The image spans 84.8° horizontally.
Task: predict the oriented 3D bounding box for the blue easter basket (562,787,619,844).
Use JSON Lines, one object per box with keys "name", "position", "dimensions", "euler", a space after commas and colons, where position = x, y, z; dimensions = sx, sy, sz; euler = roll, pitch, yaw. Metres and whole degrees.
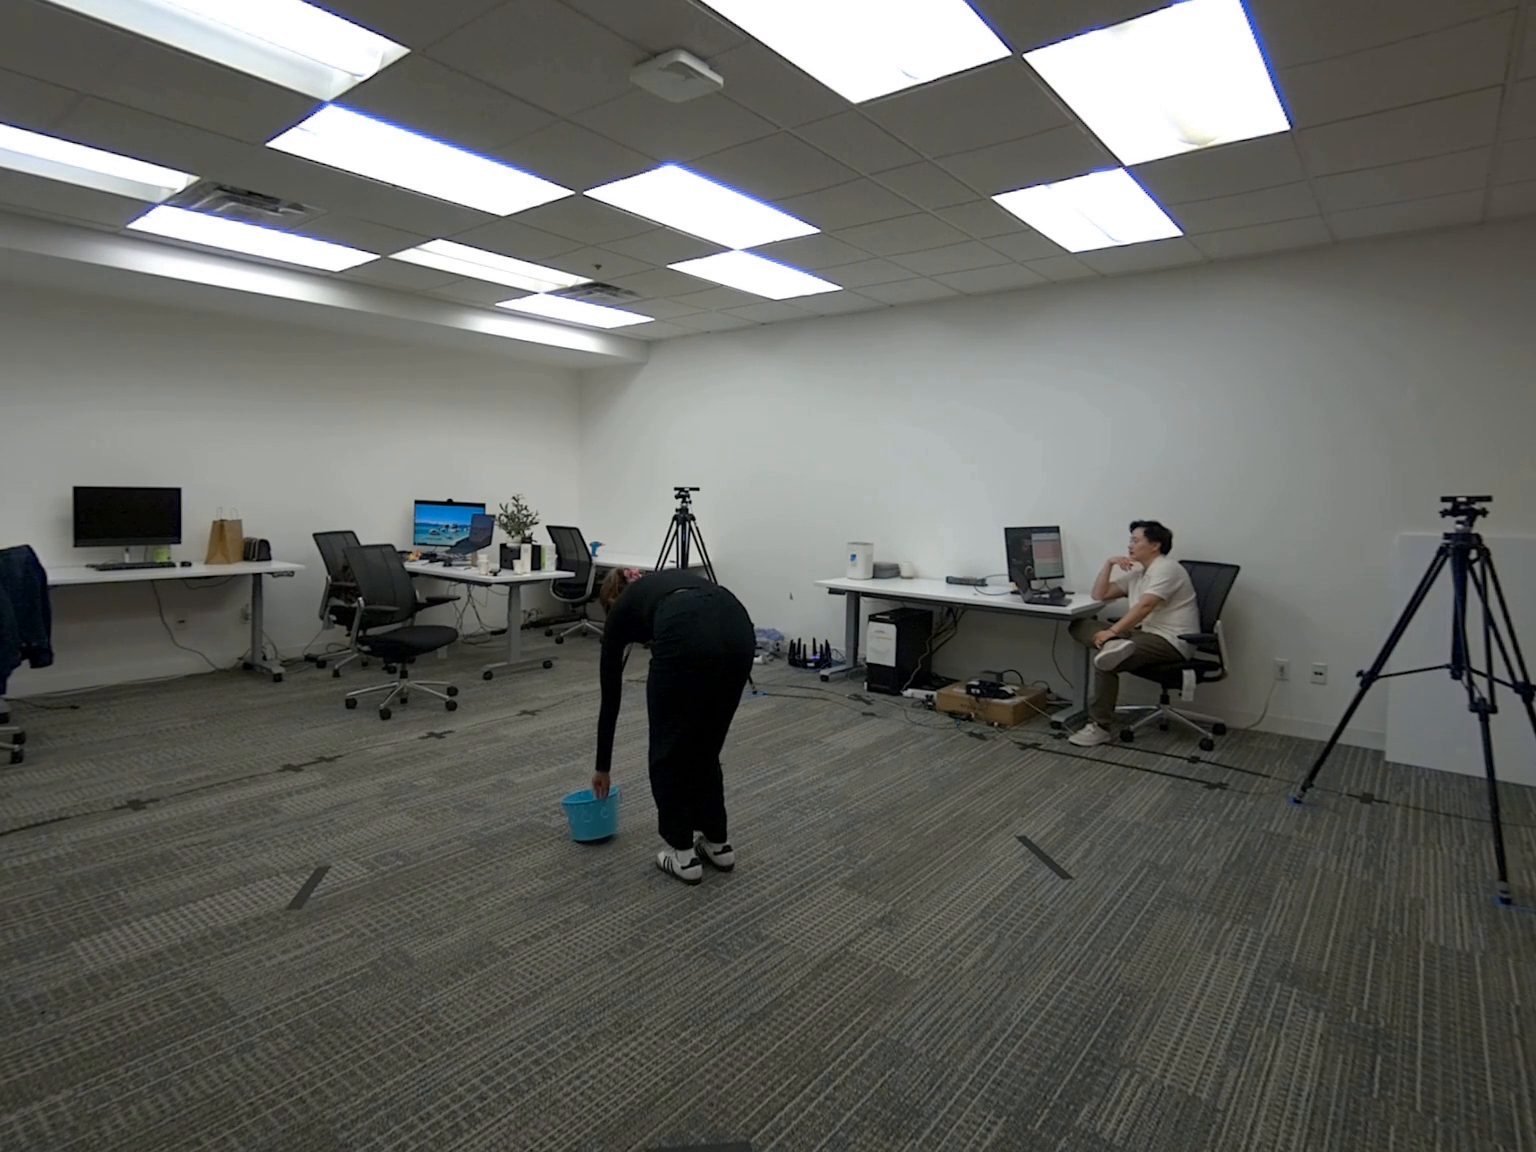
{"name": "blue easter basket", "position": [-0.708, 0.939, 3.387], "dimensions": [0.243, 0.156, 0.243], "euler": [-8, 0, -2]}
